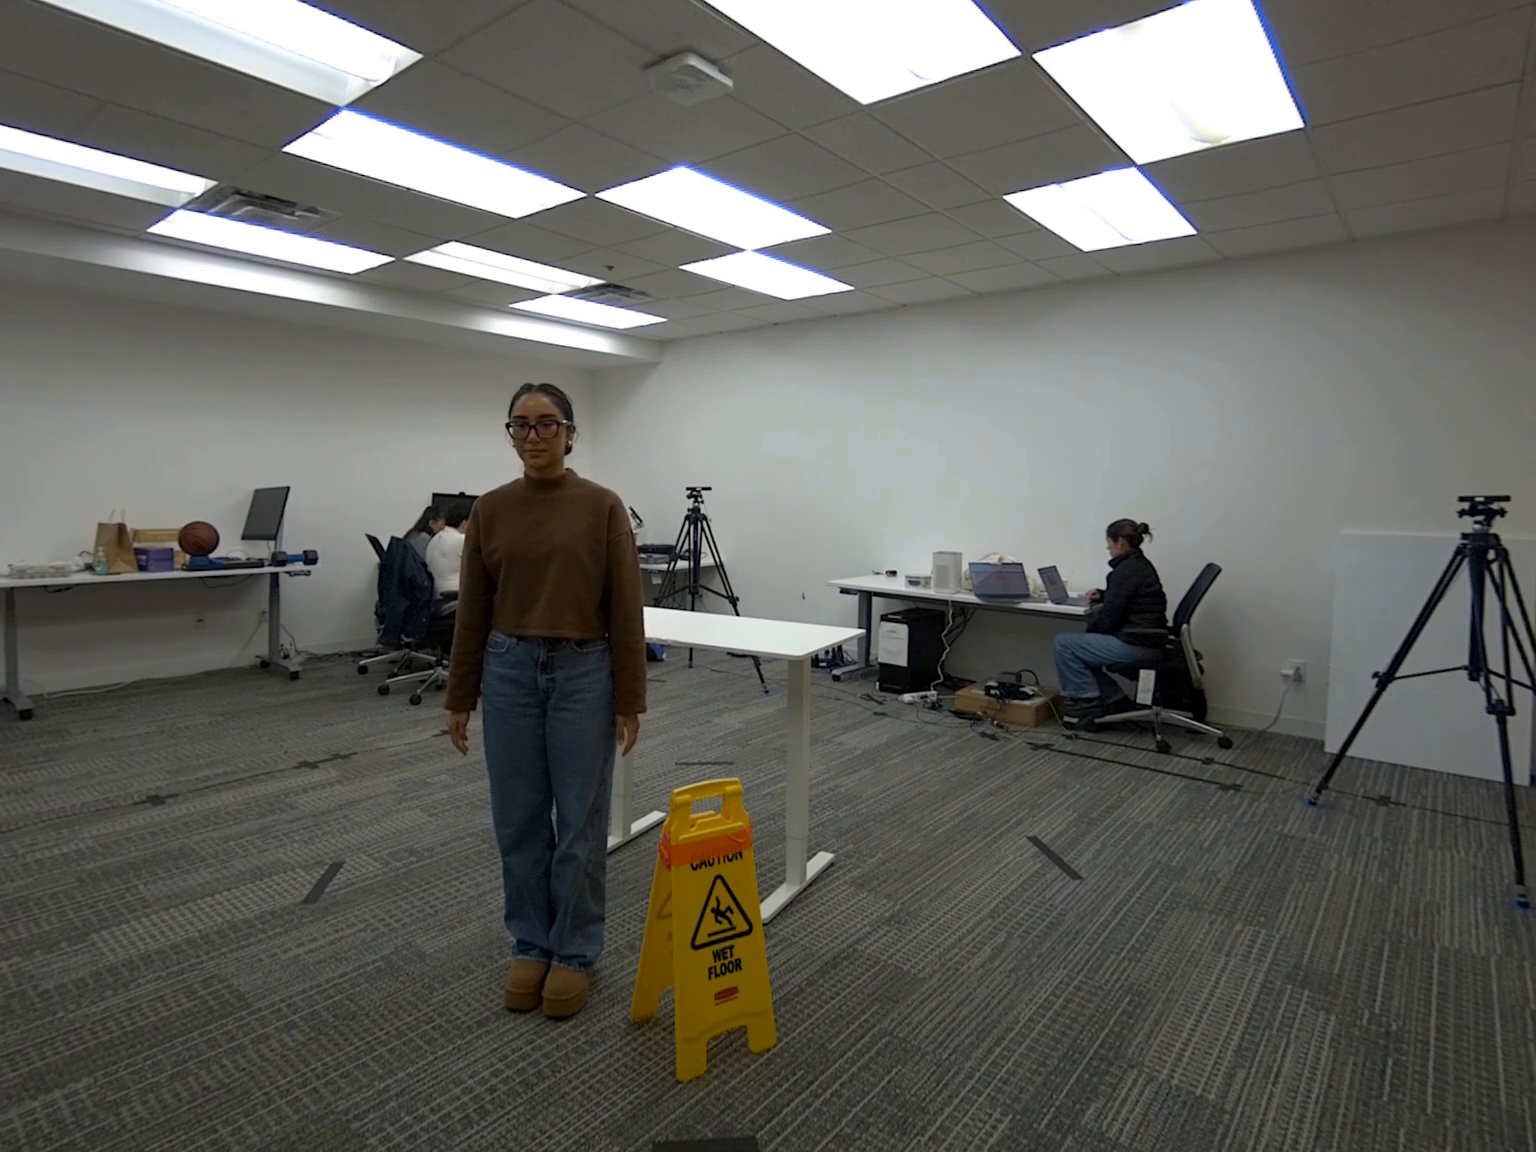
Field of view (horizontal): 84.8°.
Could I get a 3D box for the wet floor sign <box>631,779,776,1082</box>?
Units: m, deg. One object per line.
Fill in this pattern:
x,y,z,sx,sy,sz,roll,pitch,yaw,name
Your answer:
-0.168,0.839,2.157,0.274,0.644,0.299,1,3,-34,wet floor sign
